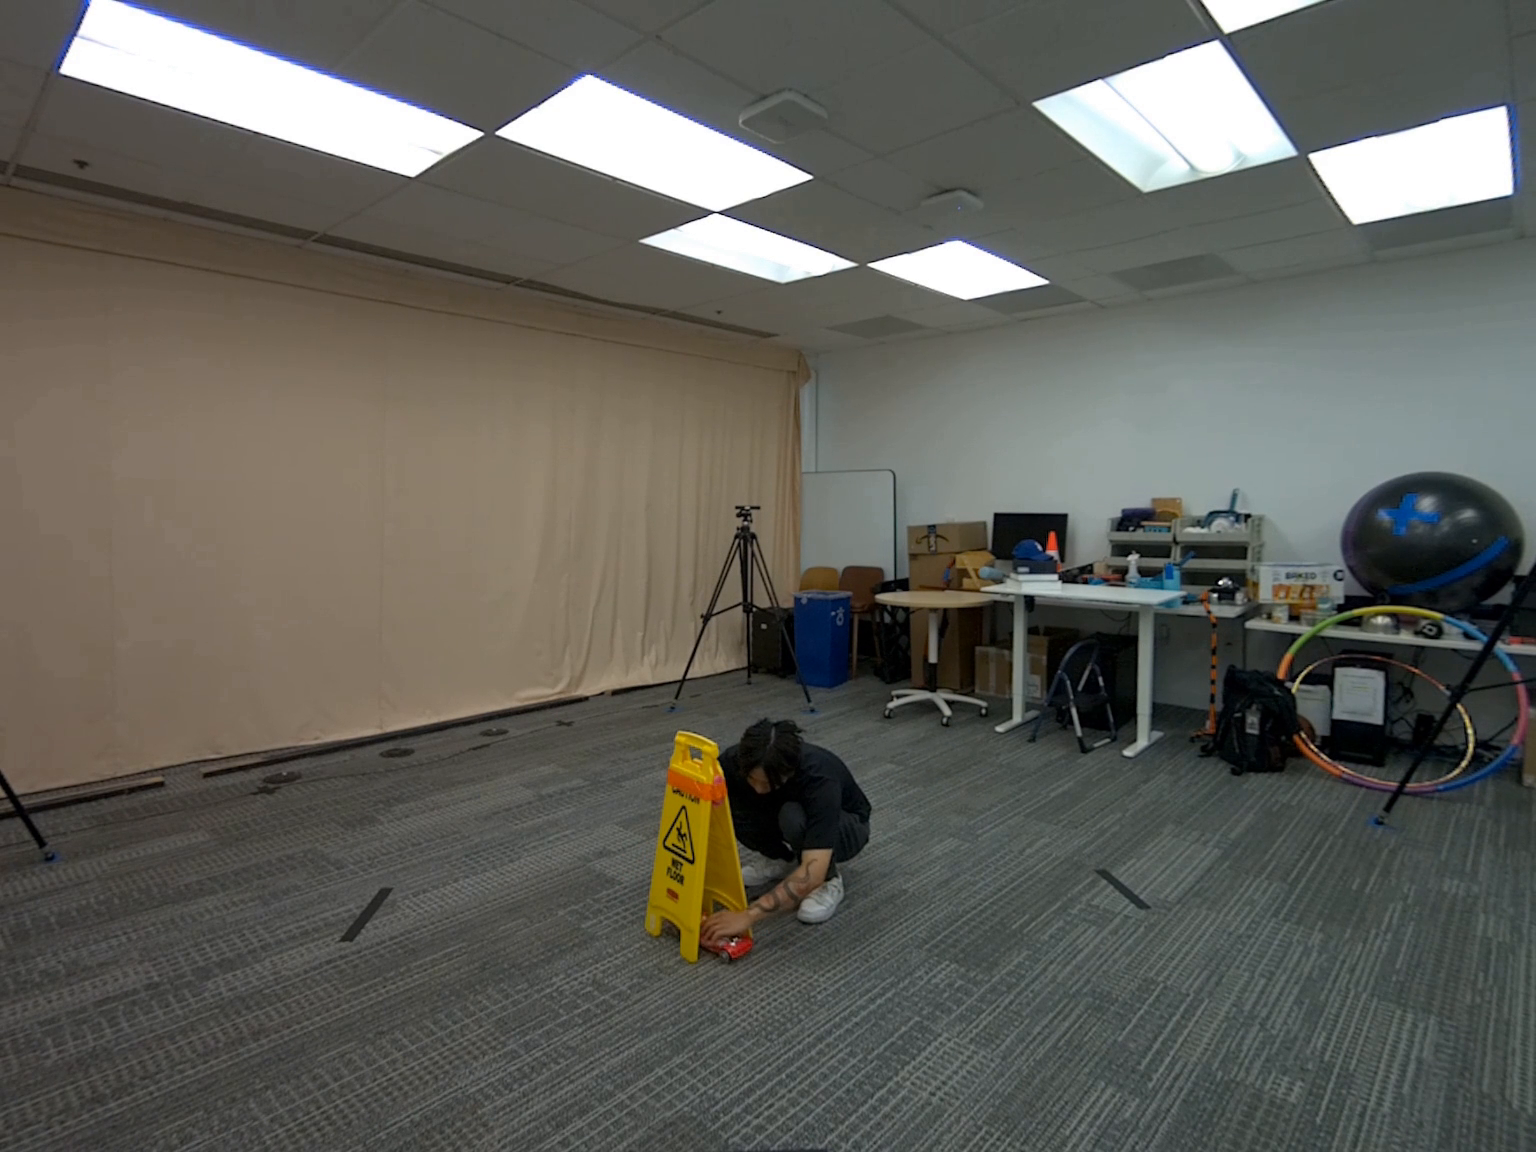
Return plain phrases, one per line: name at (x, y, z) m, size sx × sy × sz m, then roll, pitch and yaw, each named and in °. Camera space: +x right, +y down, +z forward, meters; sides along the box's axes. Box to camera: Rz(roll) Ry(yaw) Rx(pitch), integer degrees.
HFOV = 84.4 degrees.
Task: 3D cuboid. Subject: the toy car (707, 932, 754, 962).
toy car at (-0.182, 1.148, 2.660) m, size 0.264 × 0.083 × 0.126 m, roll 13°, pitch 14°, yaw 41°
